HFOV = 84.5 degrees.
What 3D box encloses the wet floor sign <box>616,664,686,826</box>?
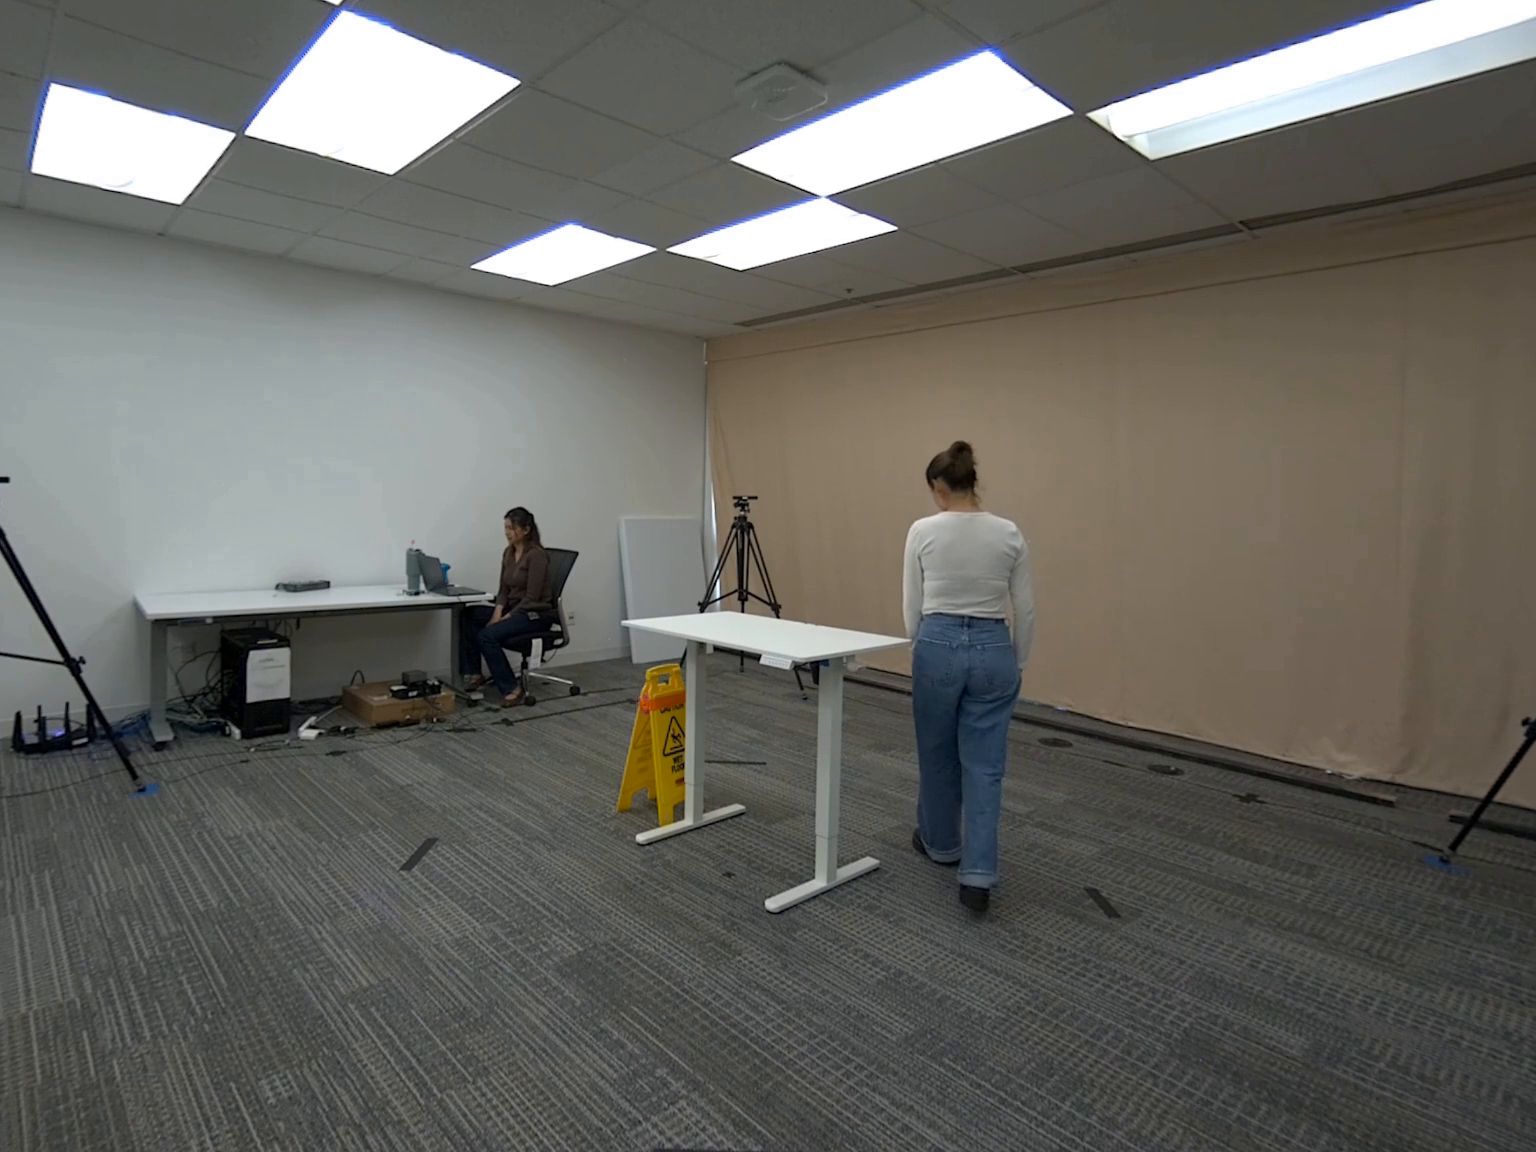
[{"bbox_3d":[-0.477,0.720,3.710,0.297,0.645,0.276,3,2,38],"label":"wet floor sign"}]
